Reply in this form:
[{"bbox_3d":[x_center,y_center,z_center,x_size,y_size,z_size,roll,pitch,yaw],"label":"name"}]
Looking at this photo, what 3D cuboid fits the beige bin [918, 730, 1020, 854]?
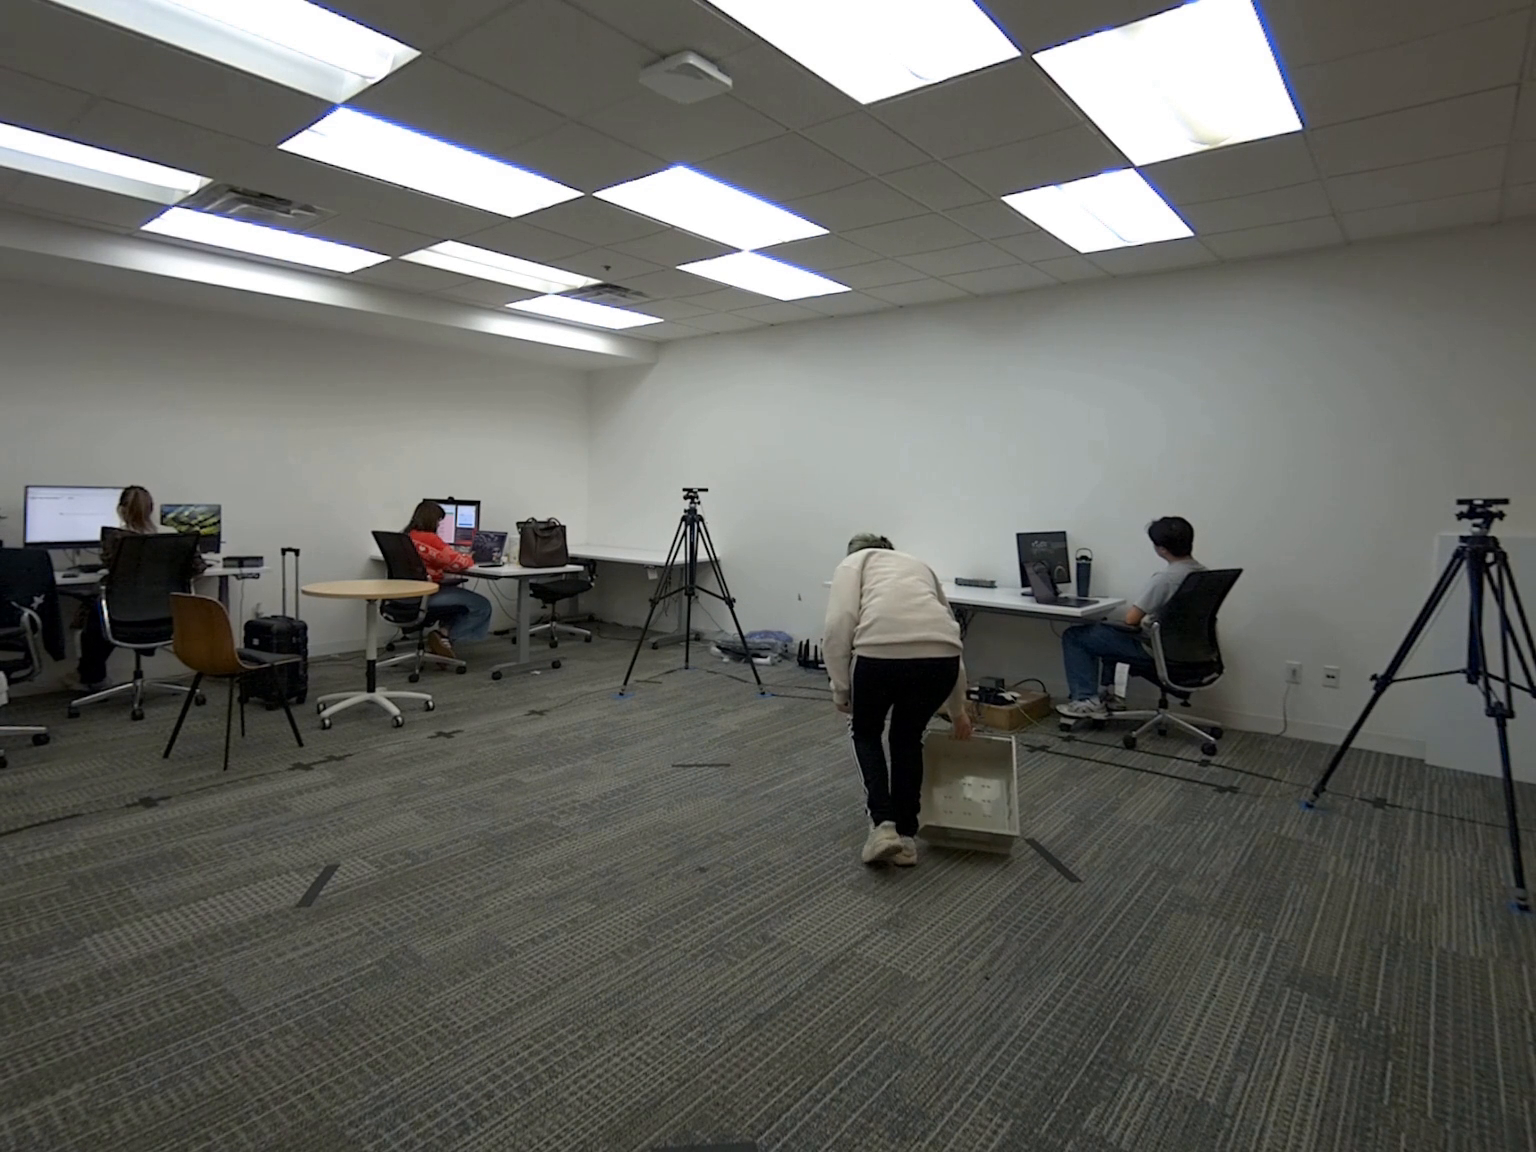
[{"bbox_3d":[0.789,0.854,3.419,0.382,0.431,0.183,2,-42,11],"label":"beige bin"}]
